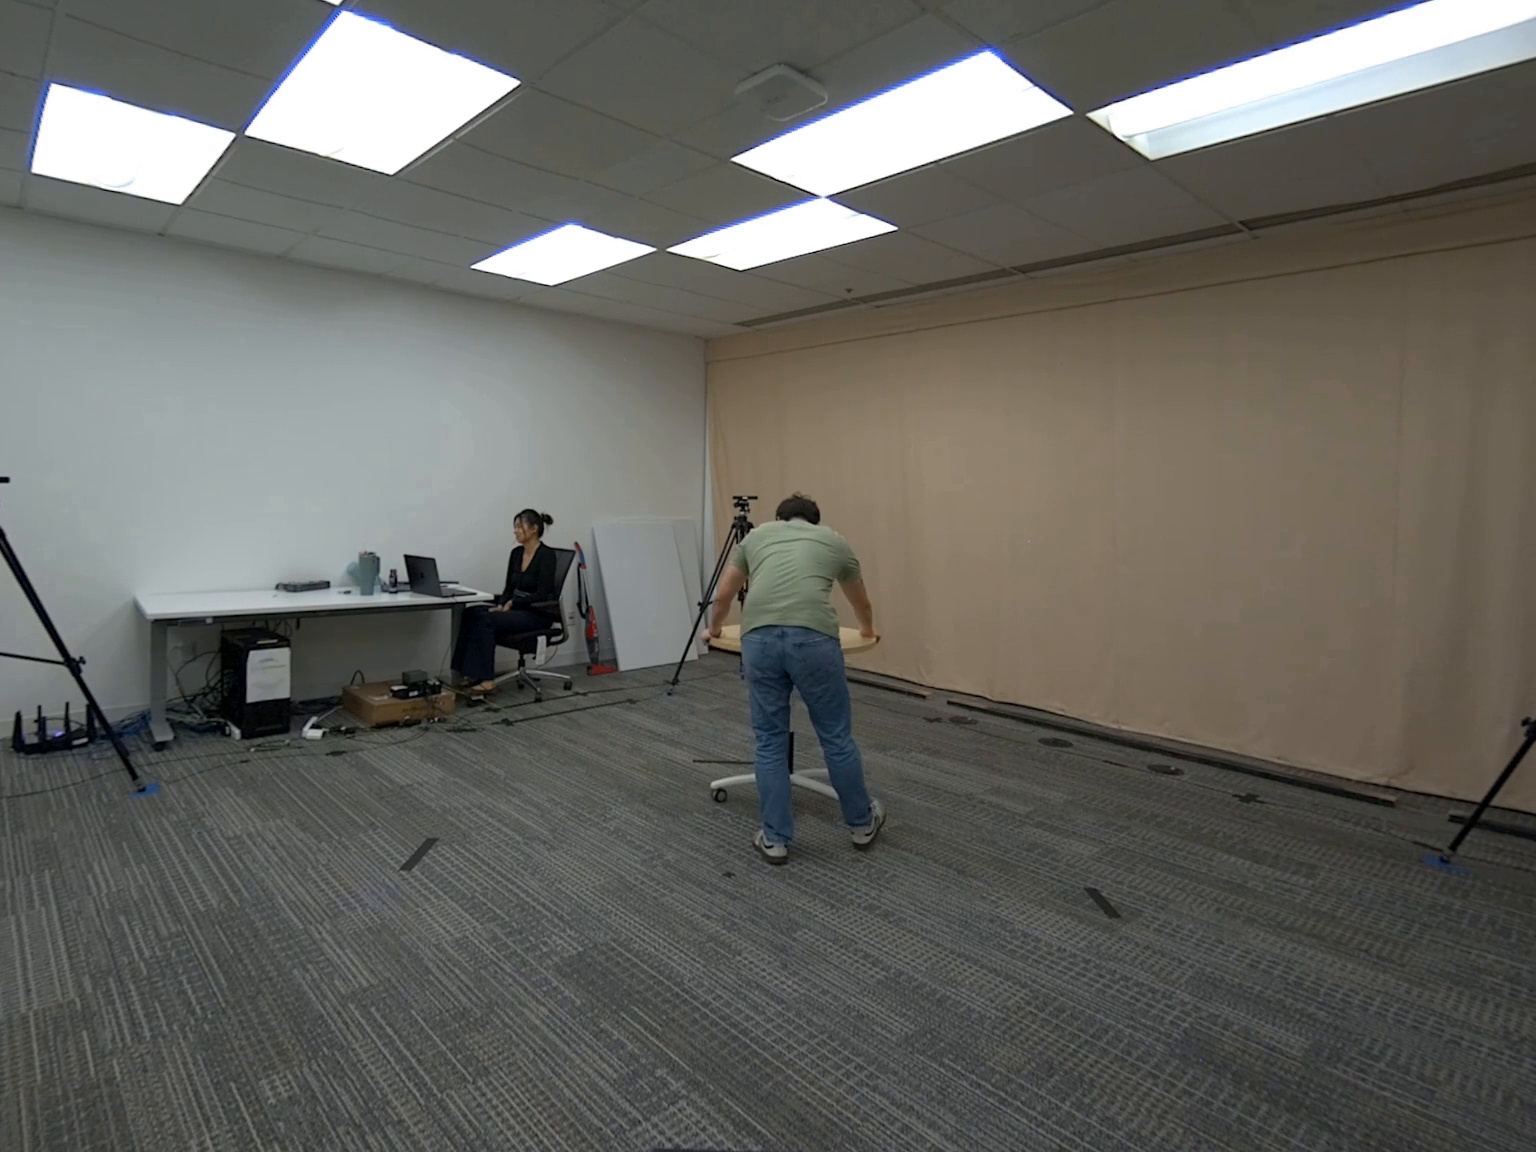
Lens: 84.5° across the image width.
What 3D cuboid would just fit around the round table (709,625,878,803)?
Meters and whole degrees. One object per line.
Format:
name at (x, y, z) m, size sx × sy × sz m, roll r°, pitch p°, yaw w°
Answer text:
round table at (0.098, 0.662, 3.845) m, size 0.763 × 0.792 × 0.766 m, roll 2°, pitch 4°, yaw -1°
